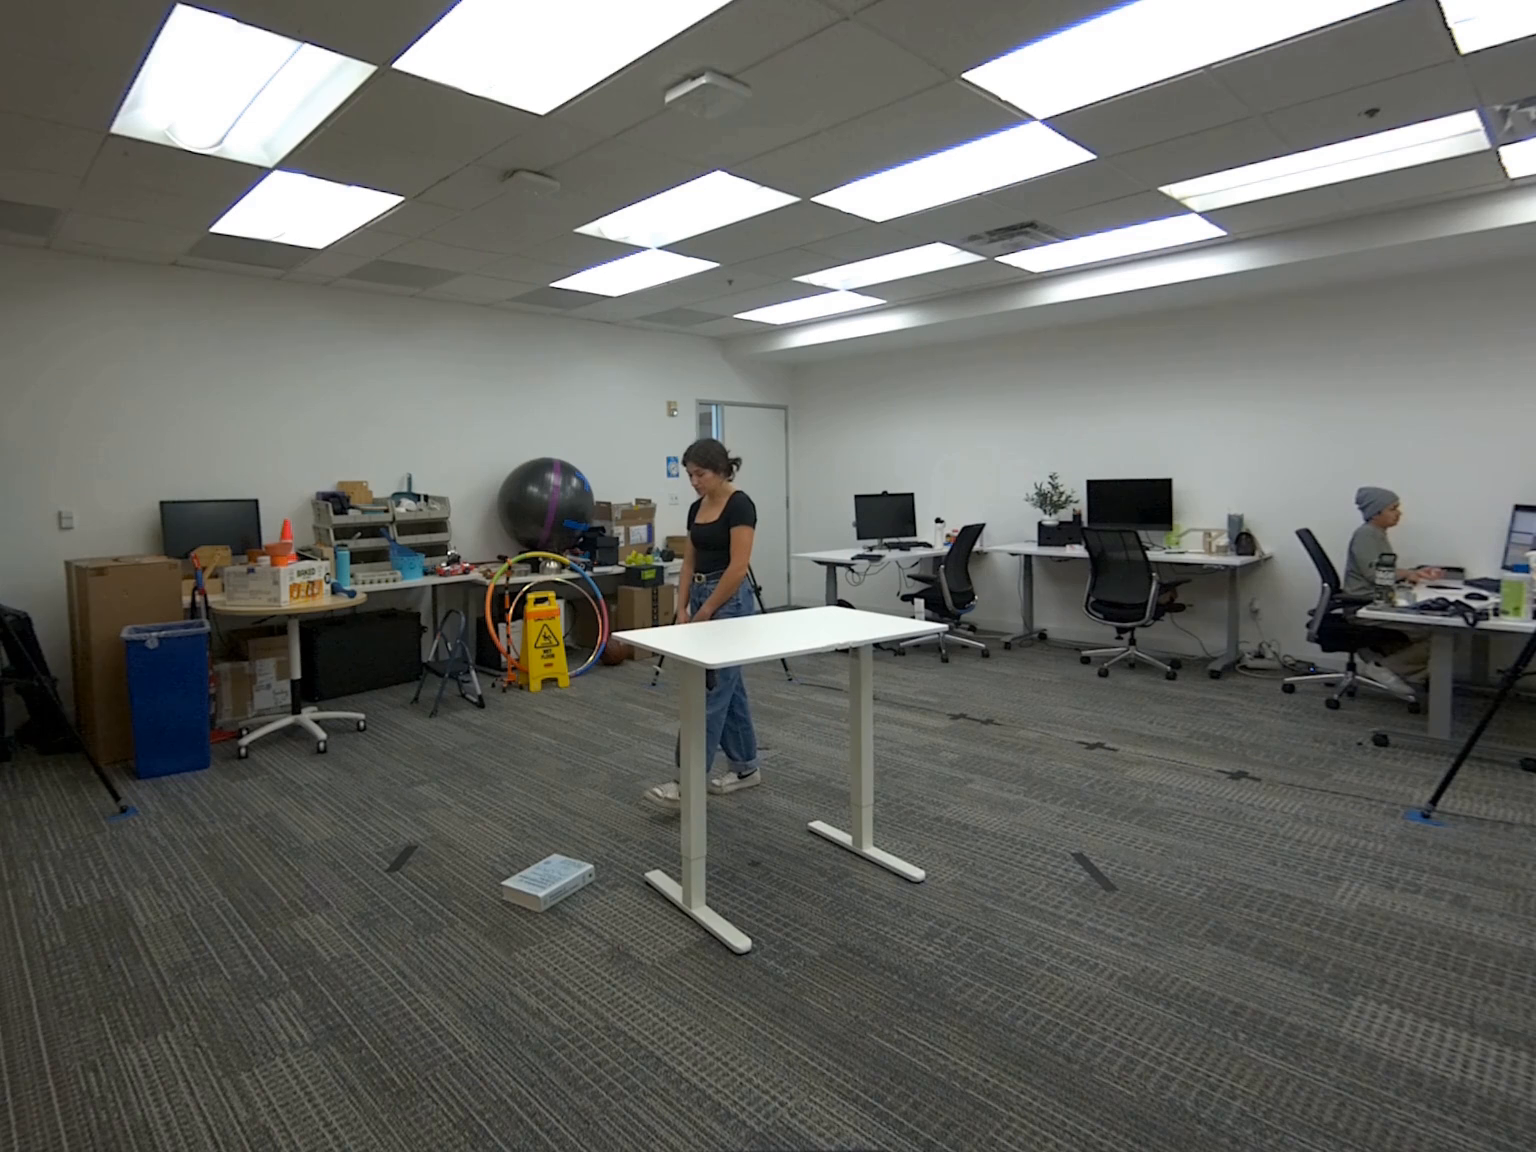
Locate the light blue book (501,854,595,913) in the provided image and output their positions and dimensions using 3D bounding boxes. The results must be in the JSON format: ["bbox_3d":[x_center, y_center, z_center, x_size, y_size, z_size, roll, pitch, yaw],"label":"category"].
[{"bbox_3d":[-0.749,1.048,2.929,0.196,0.059,0.255,2,7,31],"label":"light blue book"}]
